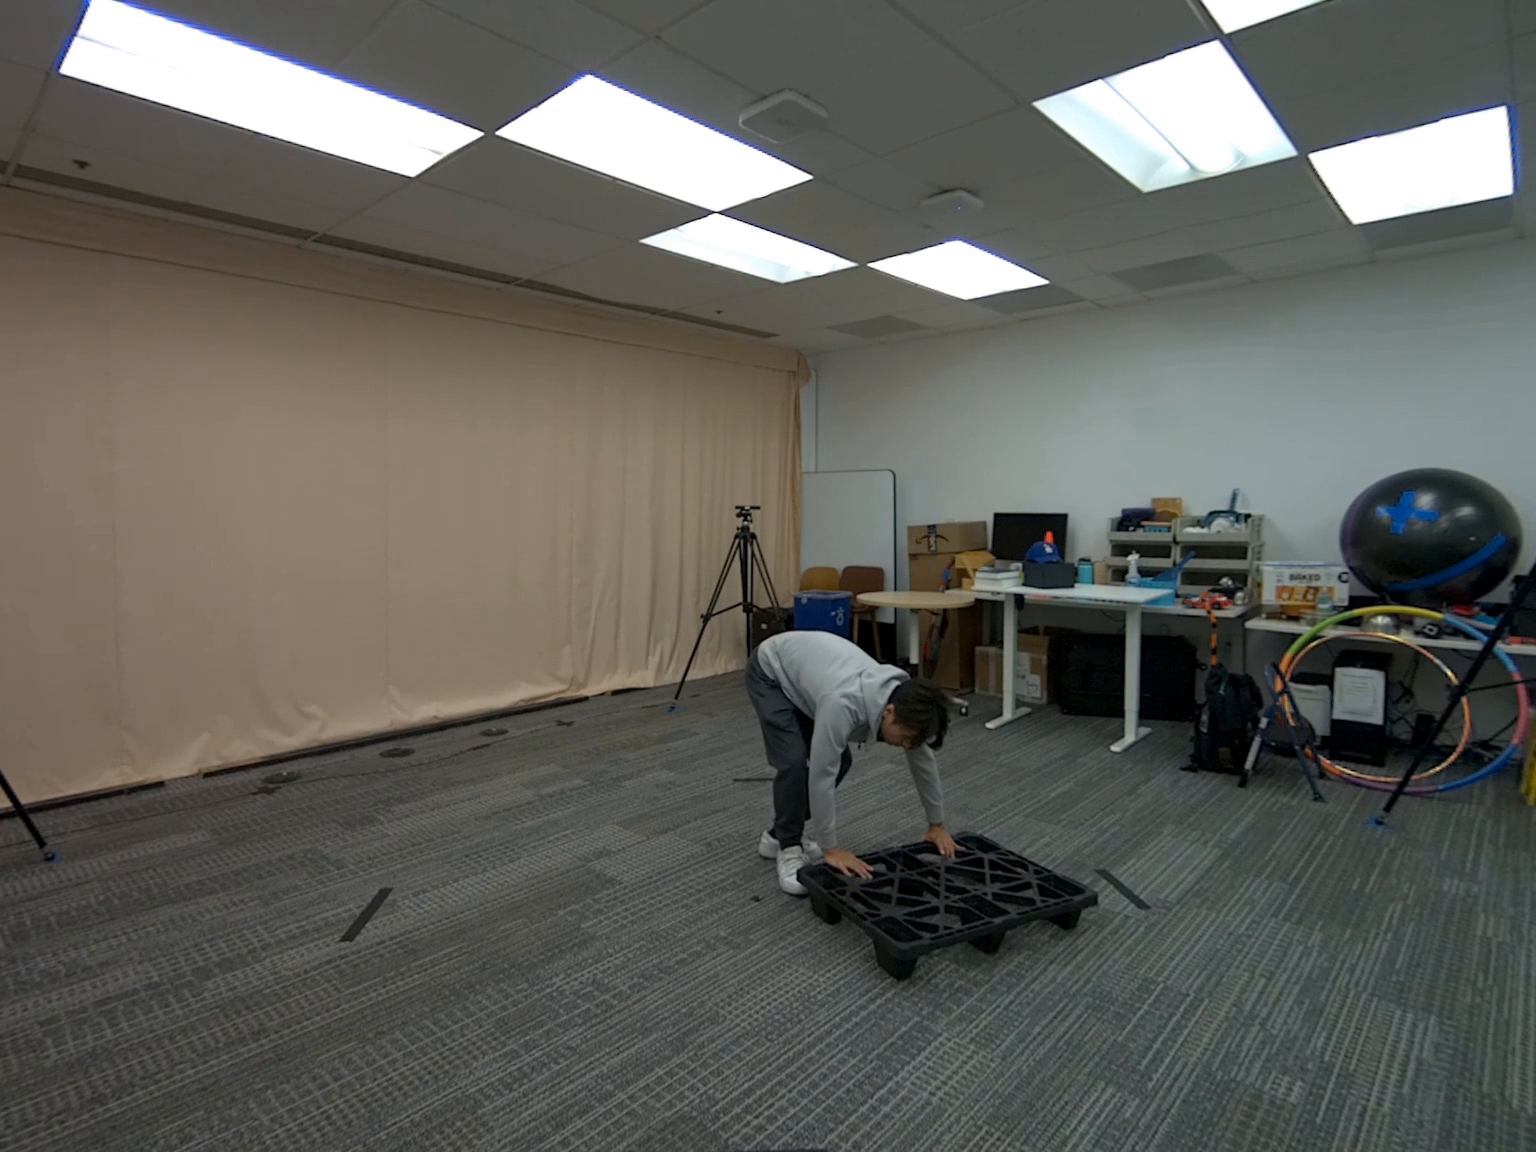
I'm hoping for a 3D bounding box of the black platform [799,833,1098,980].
[{"bbox_3d":[0.597,1.087,2.821,0.785,0.143,0.622,-3,6,-27],"label":"black platform"}]
